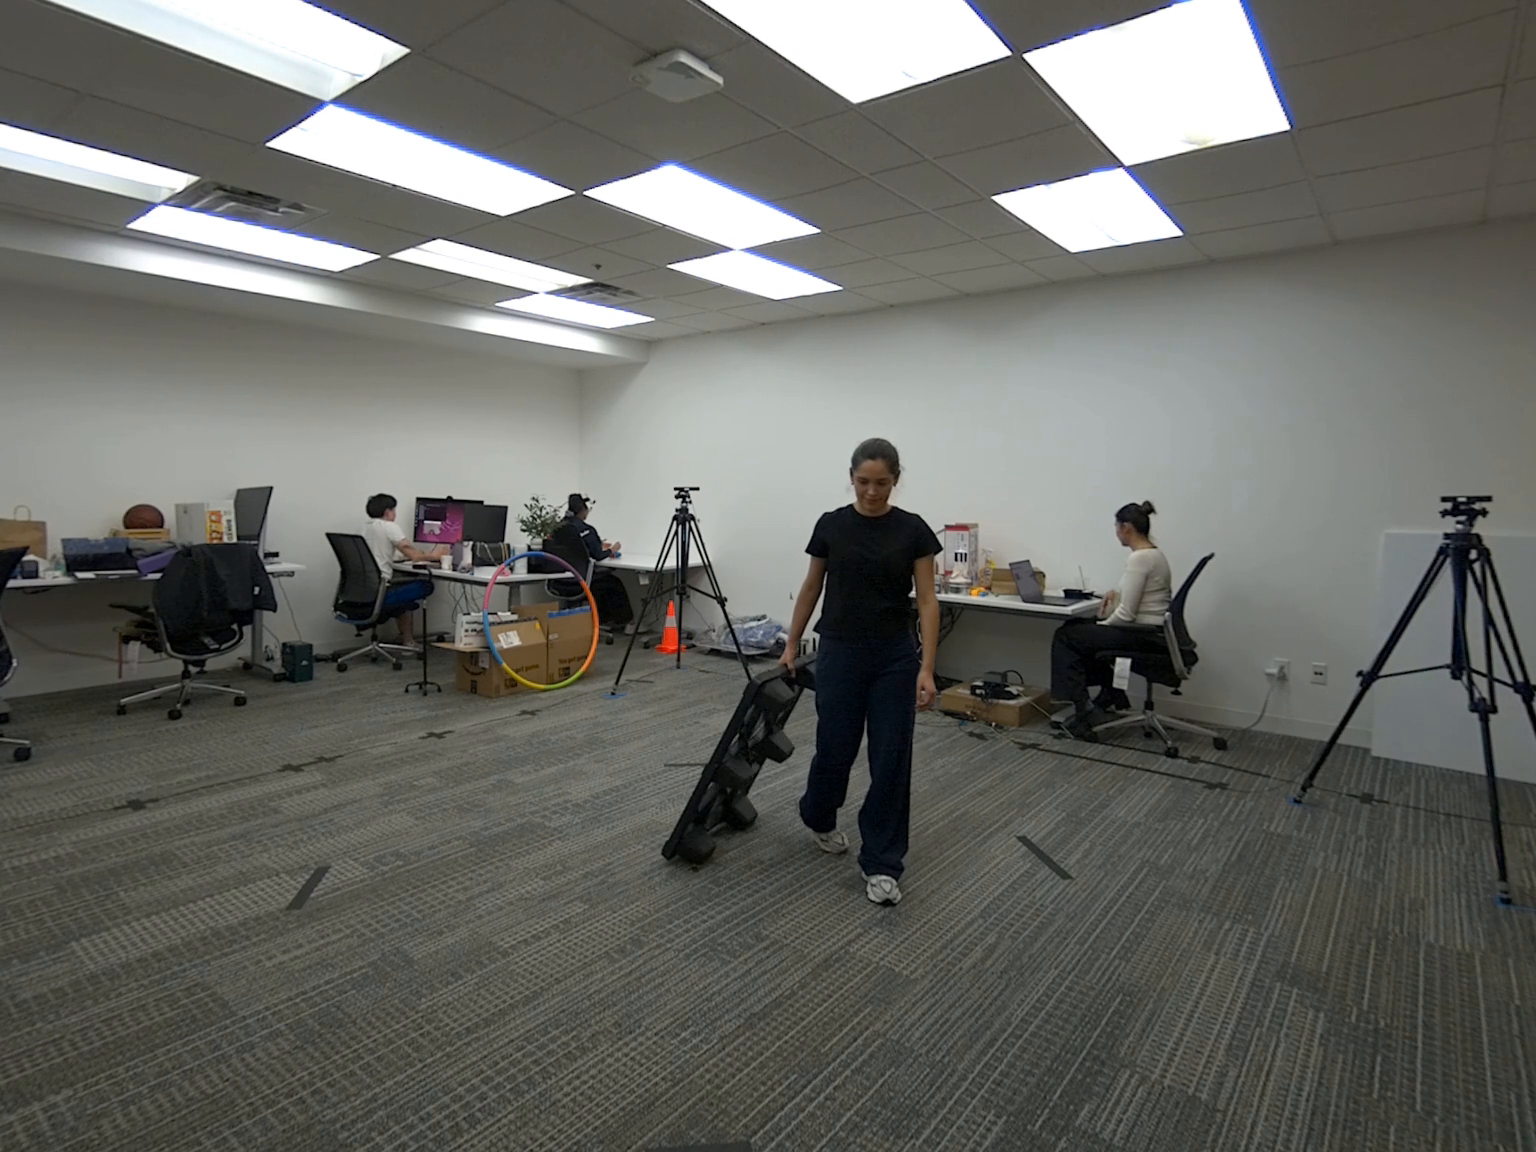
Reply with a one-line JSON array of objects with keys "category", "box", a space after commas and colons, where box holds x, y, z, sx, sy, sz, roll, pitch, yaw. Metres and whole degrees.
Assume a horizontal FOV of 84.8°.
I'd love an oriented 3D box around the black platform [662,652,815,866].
[{"category": "black platform", "box": [-0.040, 0.694, 3.278, 0.147, 0.801, 0.591, 33, 16, 20]}]
